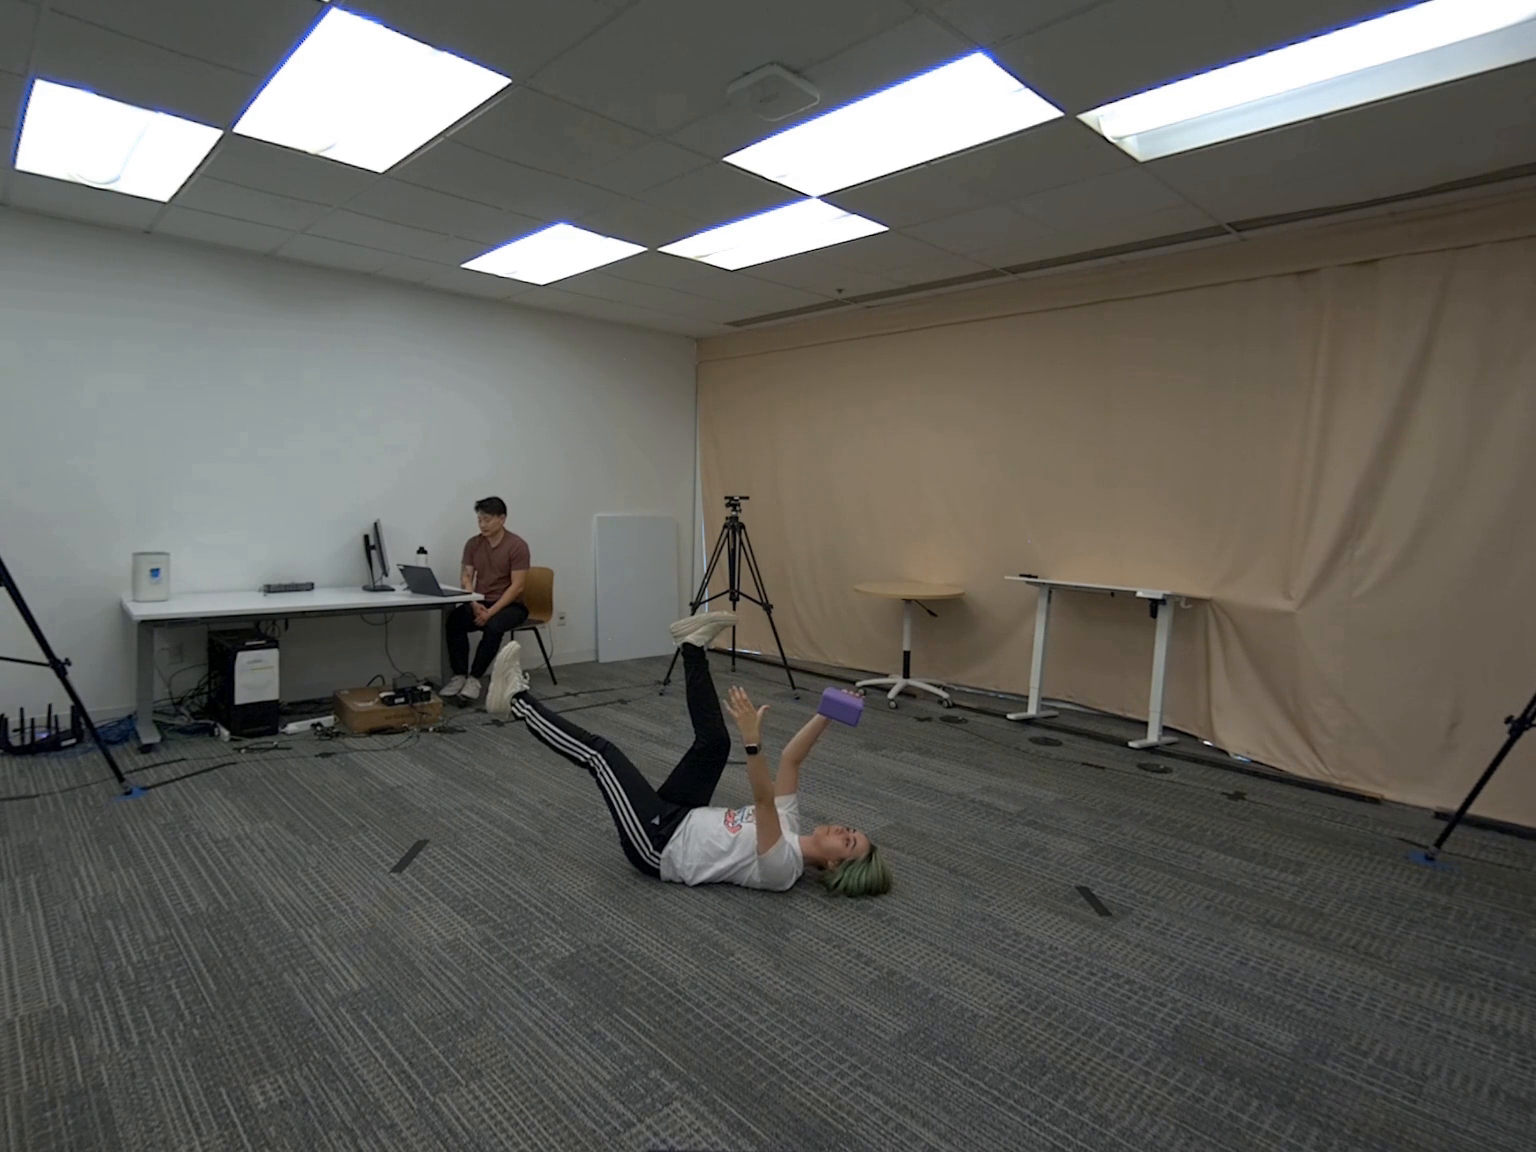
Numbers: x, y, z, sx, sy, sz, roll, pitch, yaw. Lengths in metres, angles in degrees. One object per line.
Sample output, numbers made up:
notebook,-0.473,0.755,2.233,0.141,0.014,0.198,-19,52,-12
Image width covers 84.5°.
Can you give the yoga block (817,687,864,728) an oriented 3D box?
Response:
yoga block,0.271,0.469,3.045,0.150,0.076,0.228,14,3,6
